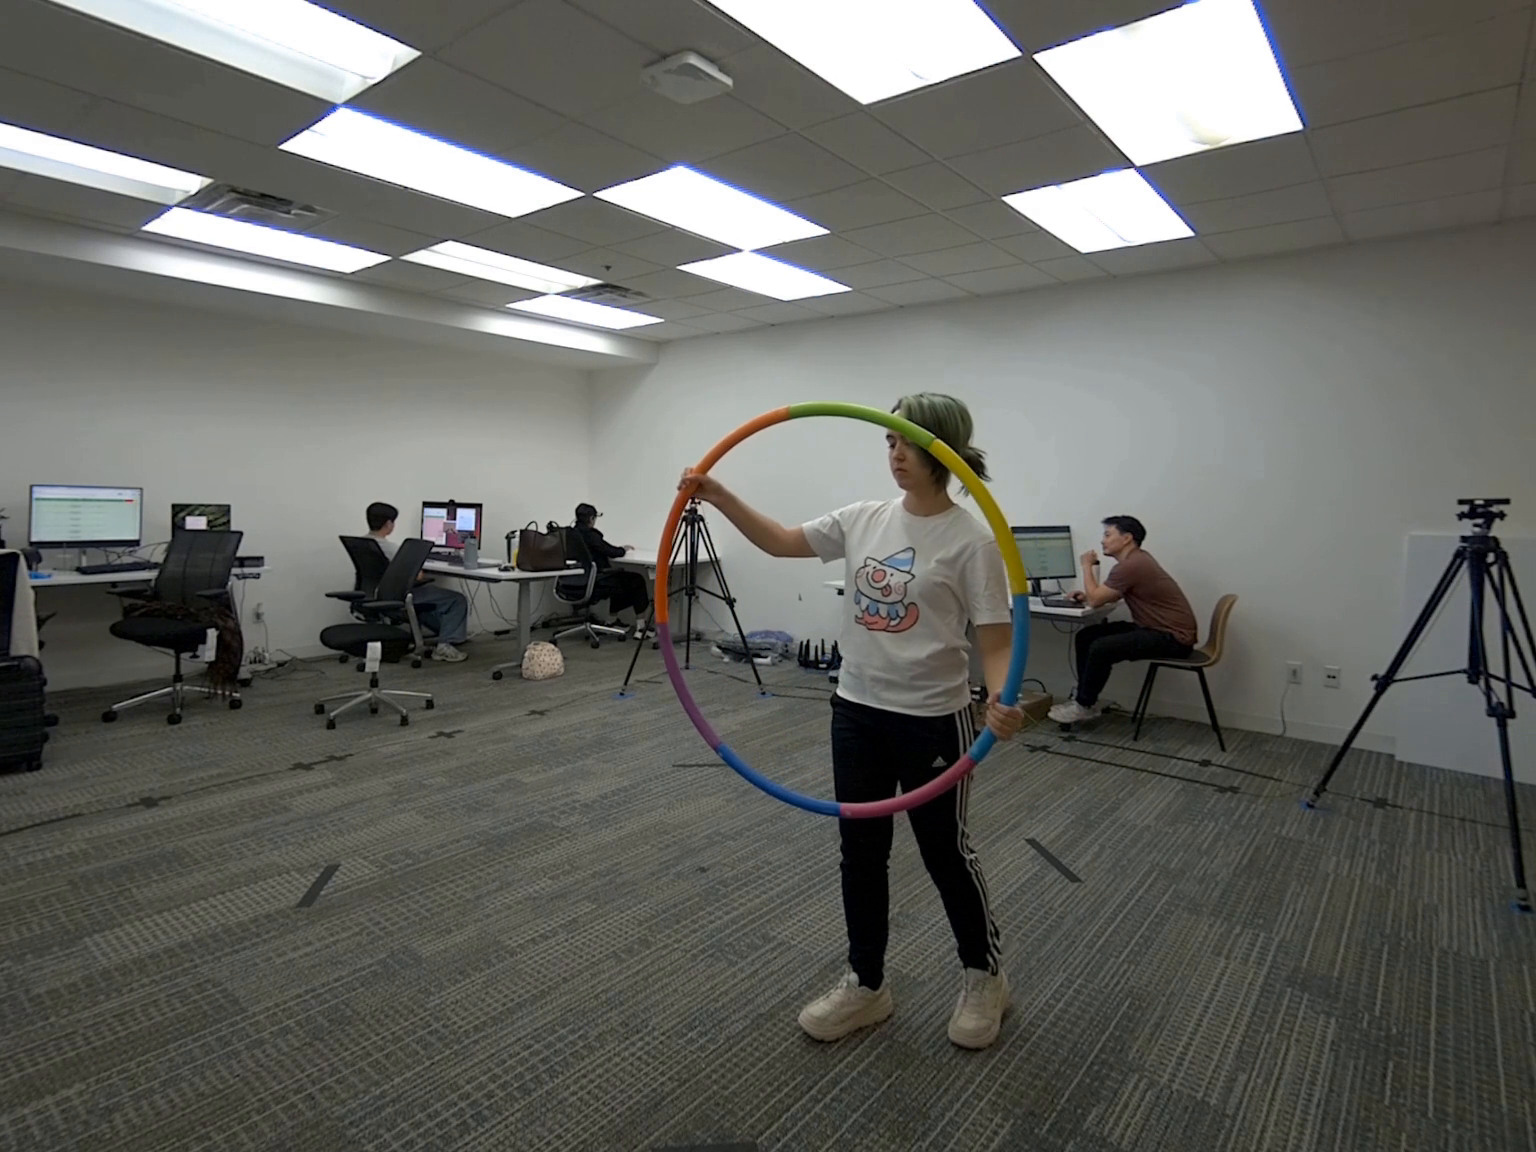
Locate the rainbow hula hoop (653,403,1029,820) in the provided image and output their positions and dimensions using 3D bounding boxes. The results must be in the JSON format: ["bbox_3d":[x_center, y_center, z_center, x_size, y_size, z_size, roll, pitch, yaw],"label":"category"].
[{"bbox_3d":[0.107,0.078,2.030,1.010,0.975,0.034,4,4,35],"label":"rainbow hula hoop"}]
